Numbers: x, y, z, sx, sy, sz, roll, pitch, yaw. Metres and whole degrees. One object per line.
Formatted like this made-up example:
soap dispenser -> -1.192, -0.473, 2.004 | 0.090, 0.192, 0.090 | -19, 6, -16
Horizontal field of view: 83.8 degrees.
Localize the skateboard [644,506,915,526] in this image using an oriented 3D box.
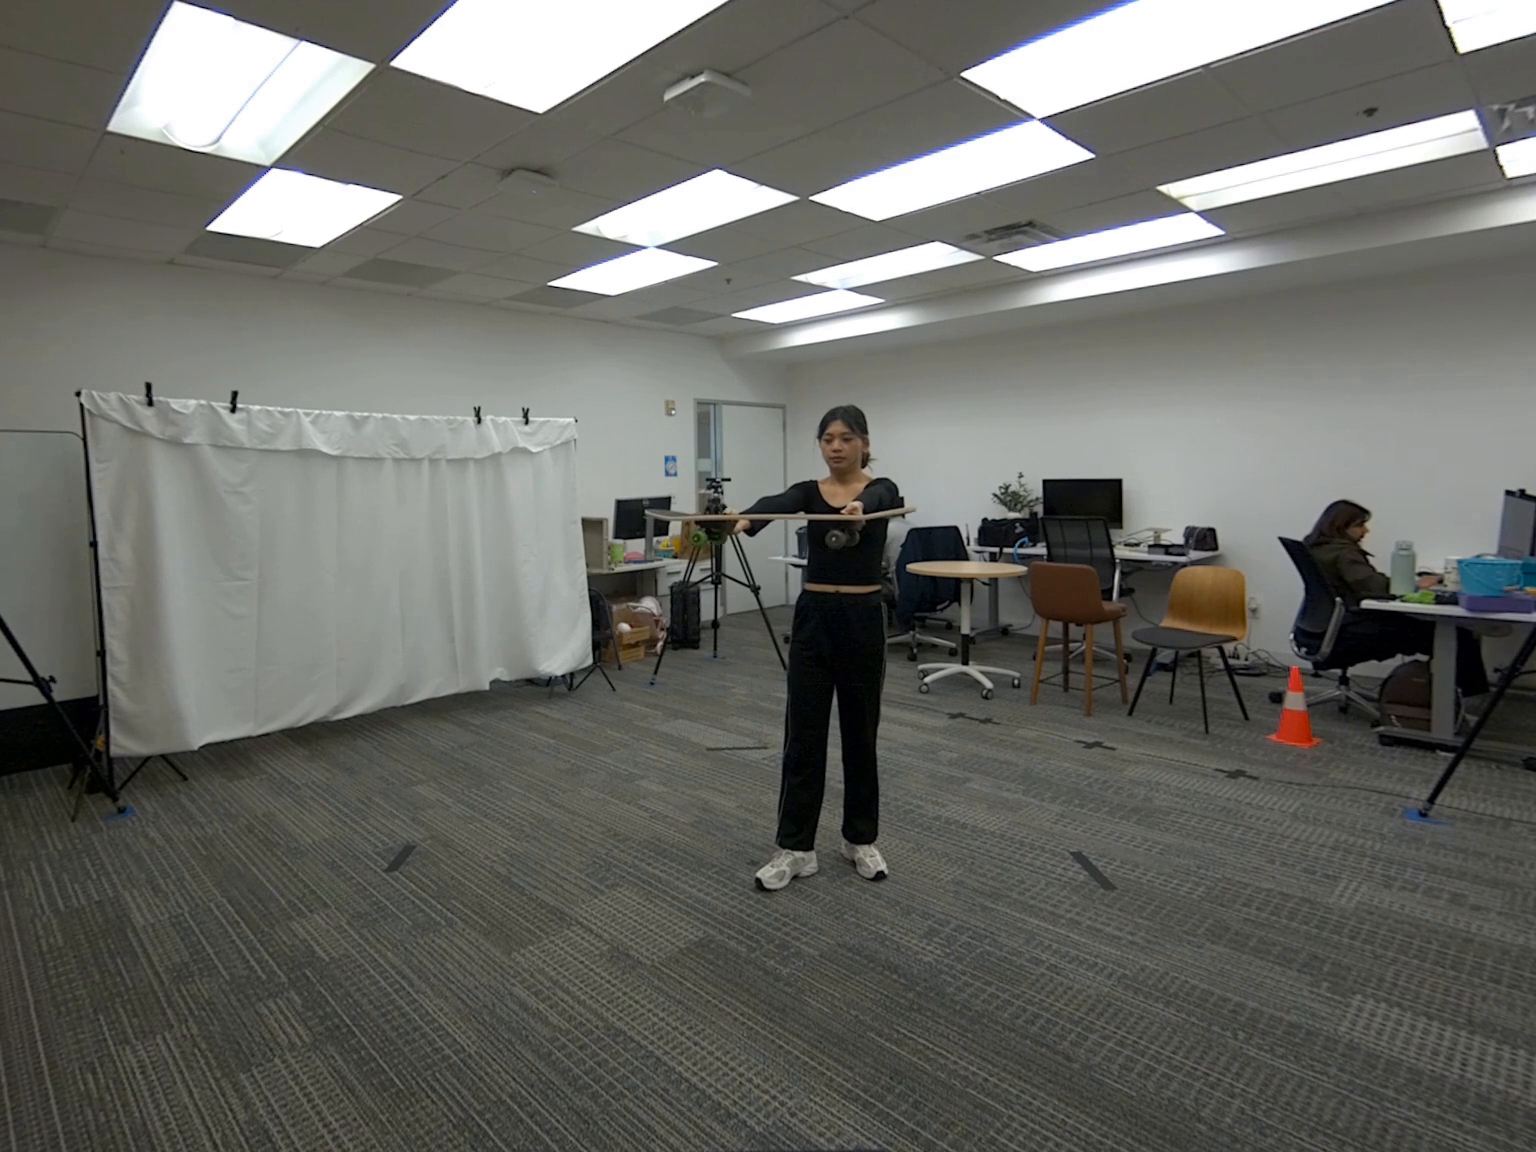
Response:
skateboard -> 0.022, -0.142, 2.456 | 0.808, 0.110, 0.189 | 3, 8, 34
